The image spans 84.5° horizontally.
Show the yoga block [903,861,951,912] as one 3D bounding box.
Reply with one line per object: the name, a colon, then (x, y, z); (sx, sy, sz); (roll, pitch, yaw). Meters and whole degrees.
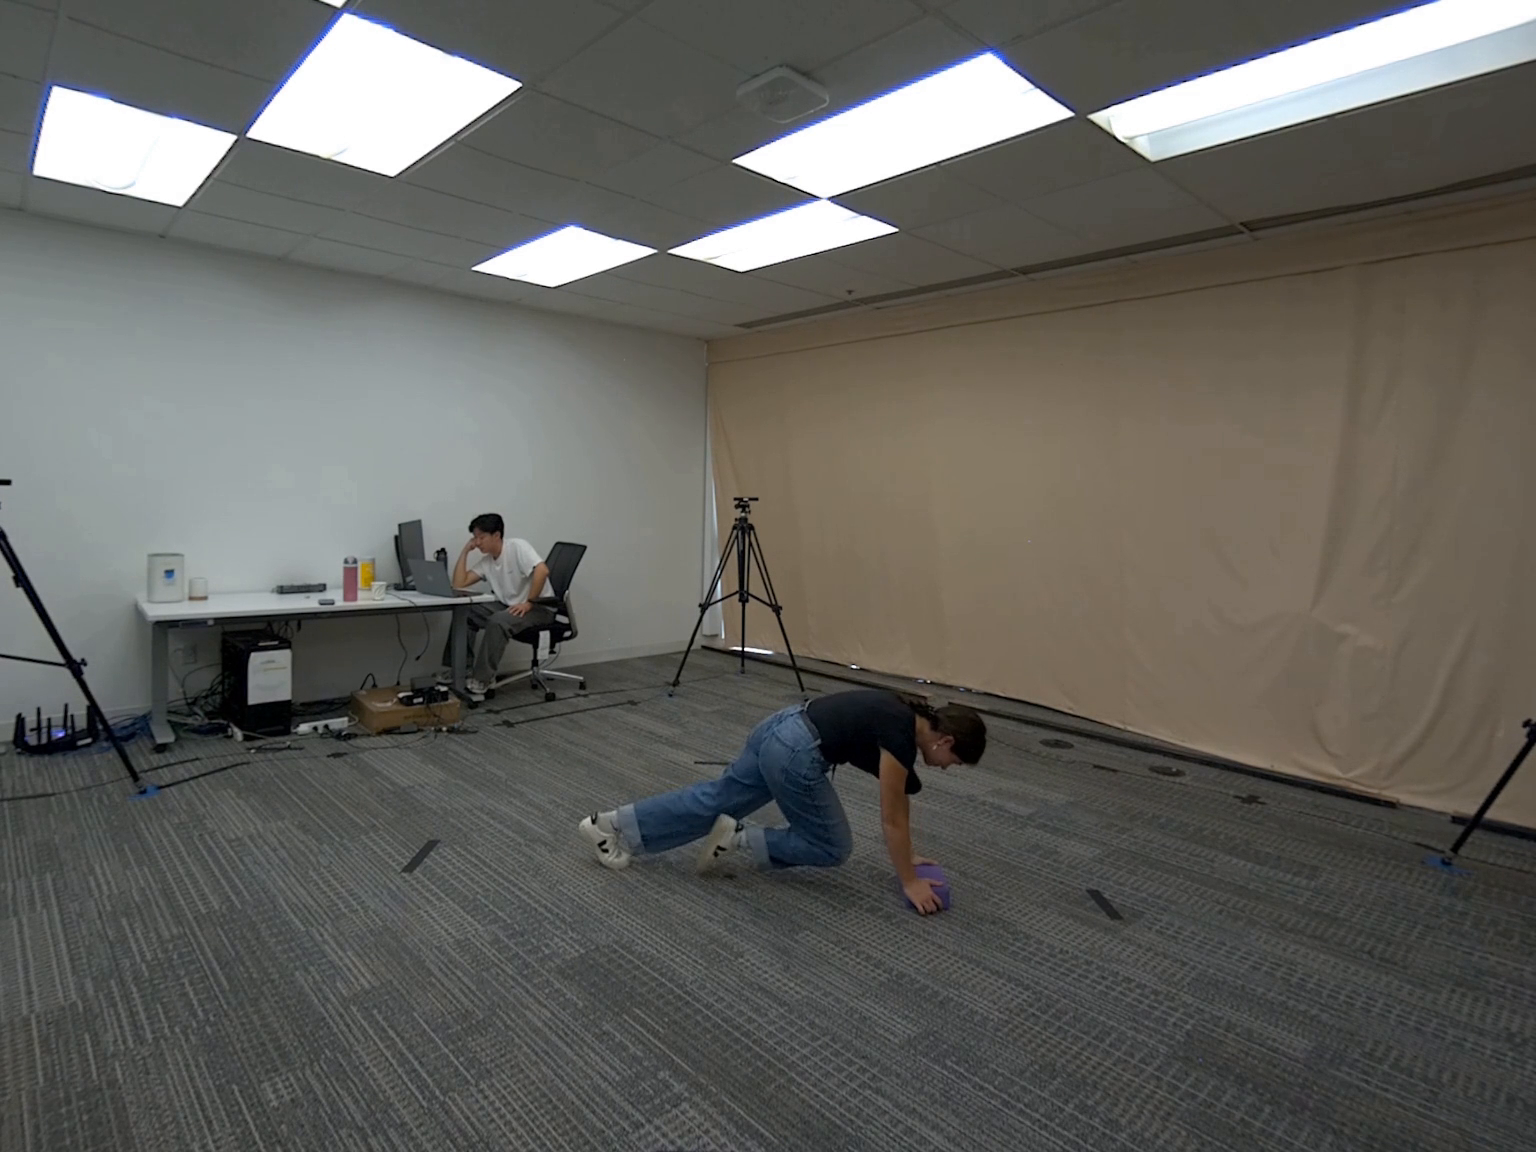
yoga block: (0.547, 1.100, 2.989); (0.149, 0.076, 0.229); (0, 4, 2)
